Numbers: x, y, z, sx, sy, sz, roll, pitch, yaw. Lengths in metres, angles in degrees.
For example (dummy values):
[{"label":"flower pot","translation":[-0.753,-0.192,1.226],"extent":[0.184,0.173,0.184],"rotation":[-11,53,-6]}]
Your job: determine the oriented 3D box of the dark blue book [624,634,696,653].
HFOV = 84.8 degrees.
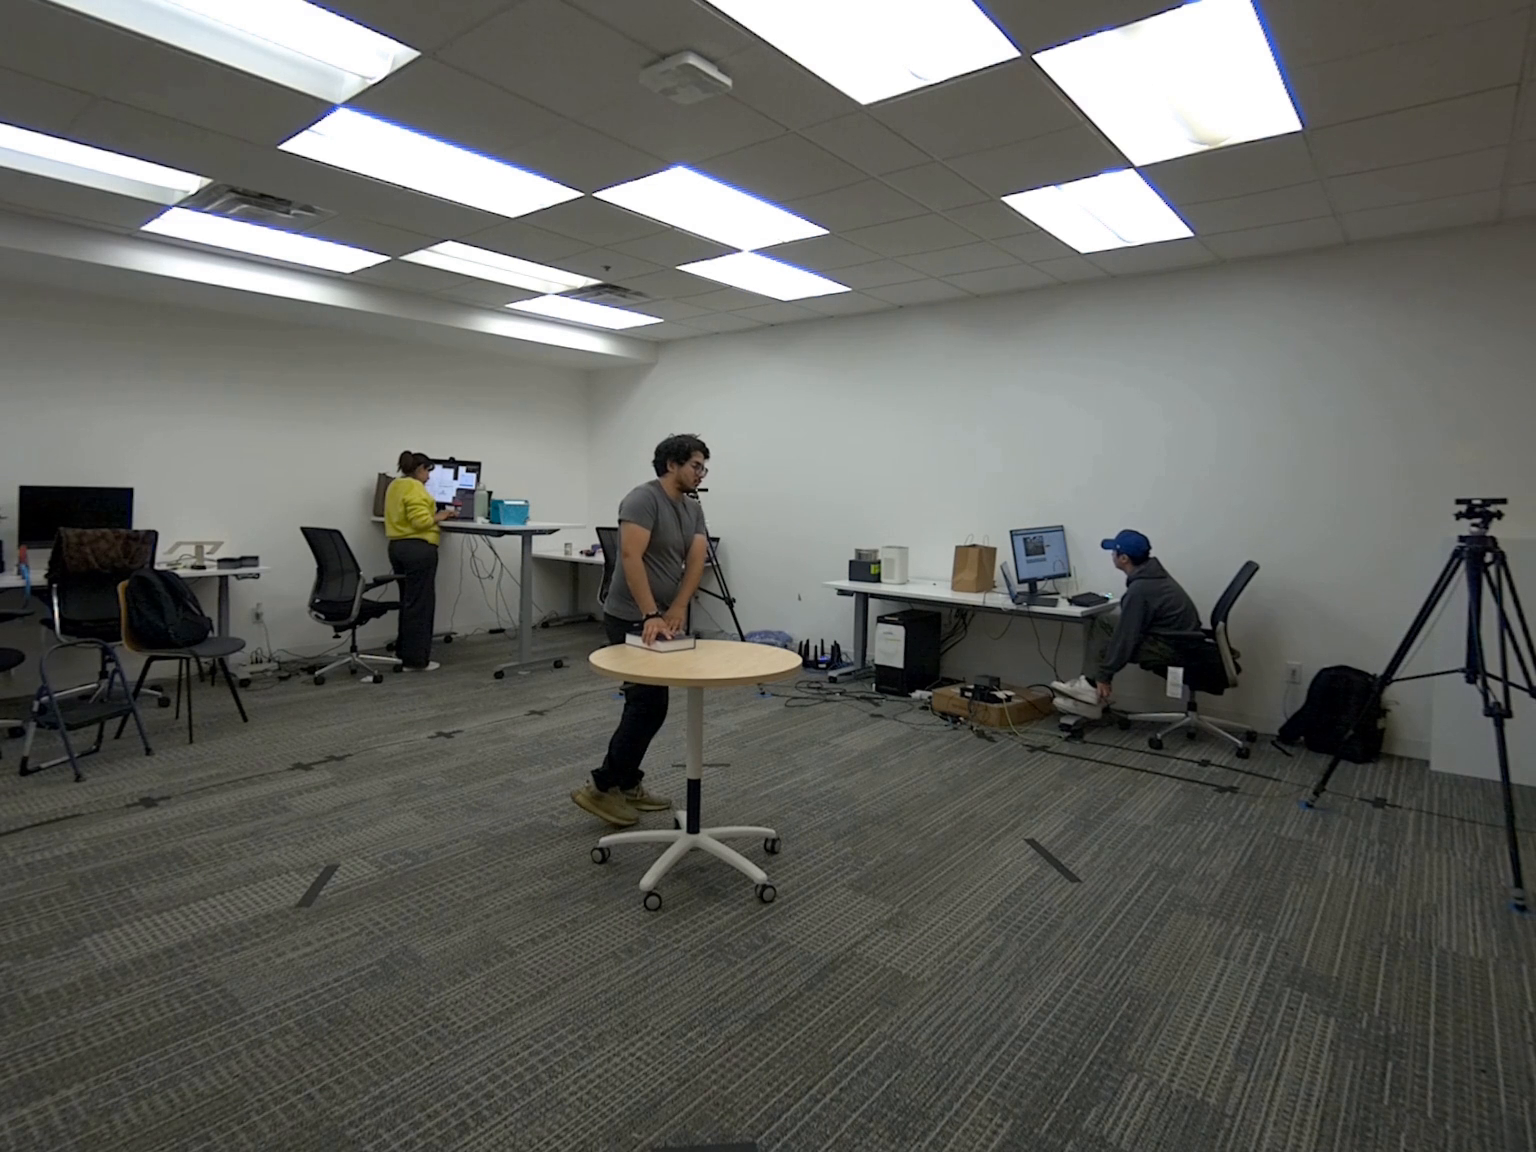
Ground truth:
[{"label":"dark blue book","translation":[-0.433,0.248,3.279],"extent":[0.158,0.045,0.253],"rotation":[-4,7,-43]}]
